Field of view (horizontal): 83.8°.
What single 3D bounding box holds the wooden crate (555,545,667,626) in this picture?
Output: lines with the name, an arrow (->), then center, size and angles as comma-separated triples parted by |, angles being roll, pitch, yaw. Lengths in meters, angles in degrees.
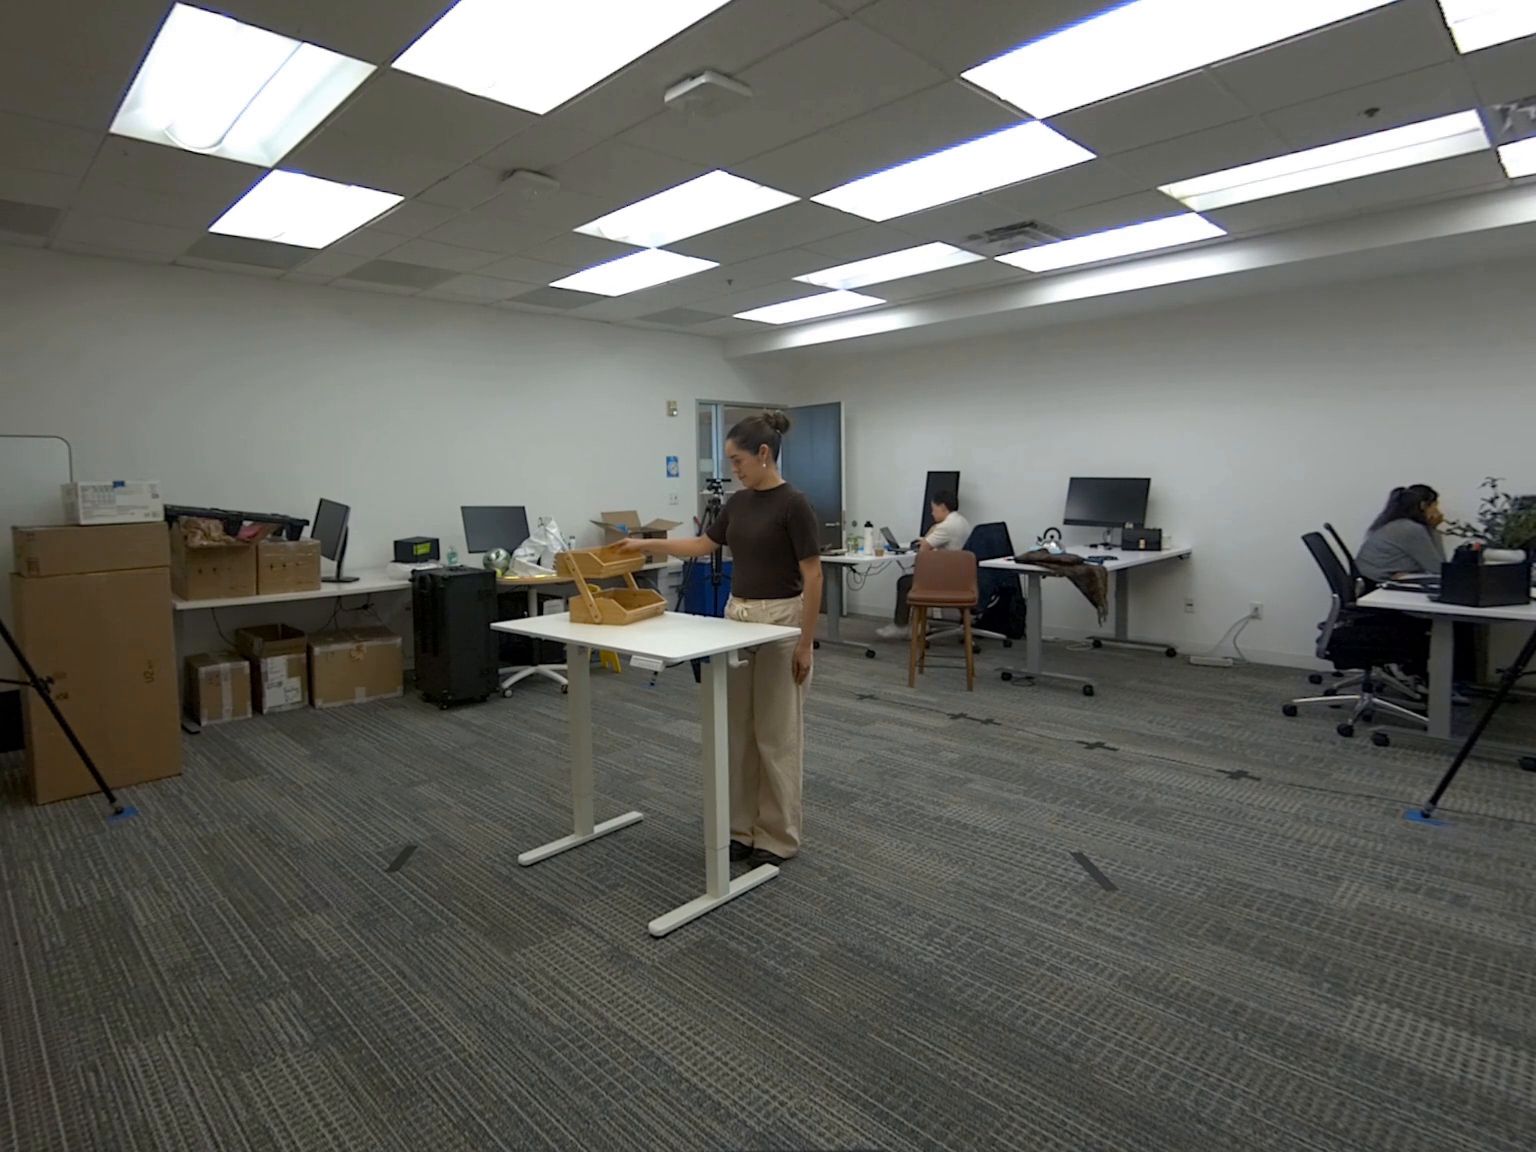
wooden crate -> -0.580, 0.026, 3.233 | 0.308, 0.272, 0.319 | 0, 5, 24
